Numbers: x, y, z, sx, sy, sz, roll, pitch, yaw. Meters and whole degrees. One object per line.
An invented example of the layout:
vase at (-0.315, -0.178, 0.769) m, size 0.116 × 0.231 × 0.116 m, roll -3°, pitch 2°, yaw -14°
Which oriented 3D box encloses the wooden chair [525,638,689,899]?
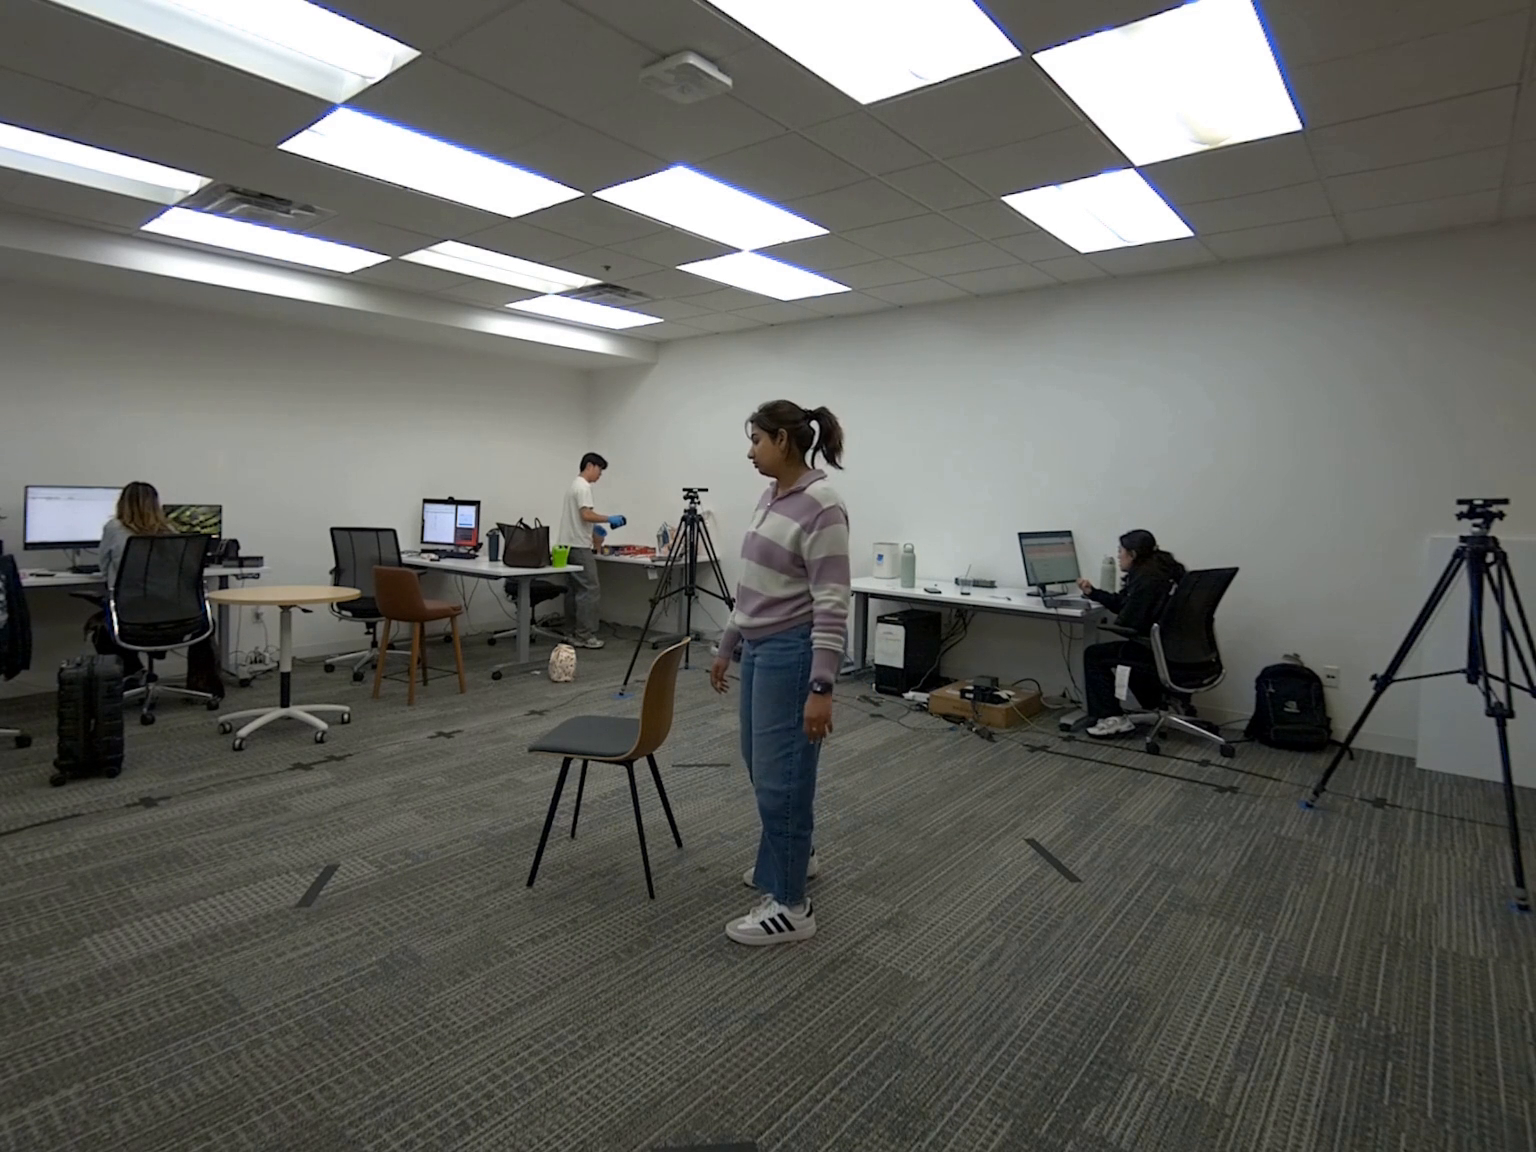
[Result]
wooden chair at (-0.592, 0.637, 3.102) m, size 0.529 × 0.875 × 0.474 m, roll 5°, pitch 4°, yaw 8°
